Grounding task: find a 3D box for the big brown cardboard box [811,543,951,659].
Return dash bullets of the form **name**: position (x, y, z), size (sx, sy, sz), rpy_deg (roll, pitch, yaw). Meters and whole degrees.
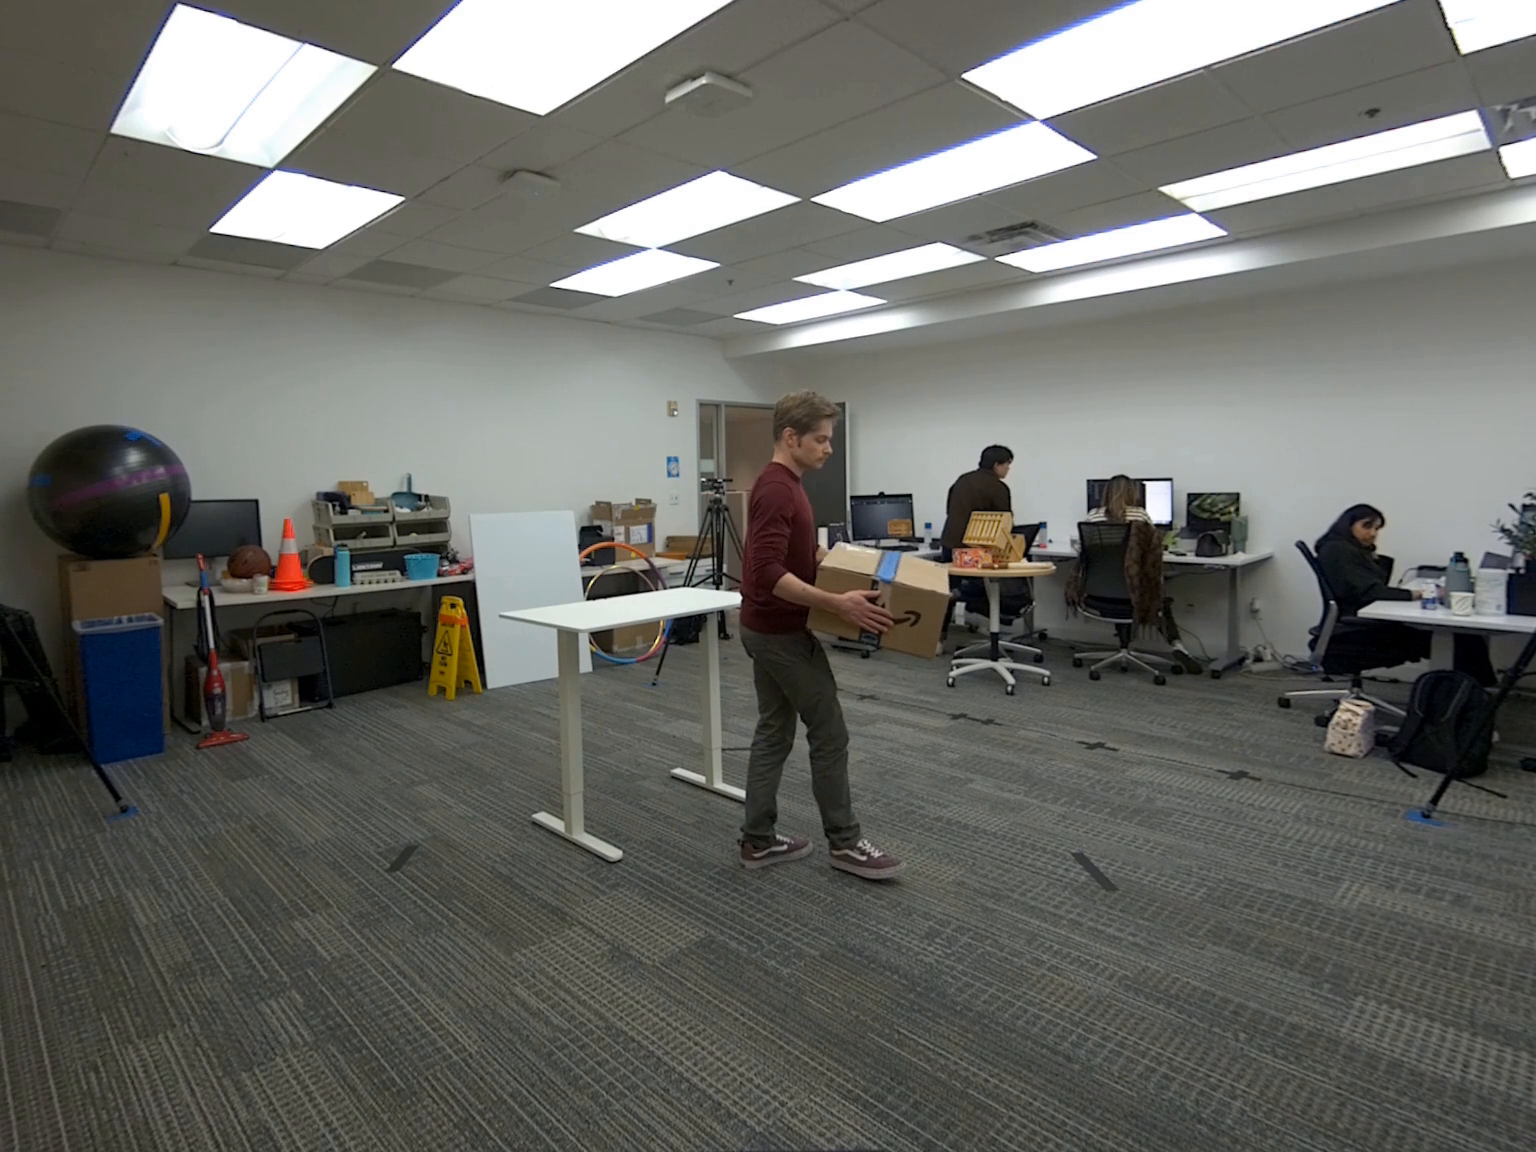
- **big brown cardboard box**: position (0.397, 0.062, 2.969), size (0.422, 0.231, 0.587), rpy_deg (10, 12, 9)
